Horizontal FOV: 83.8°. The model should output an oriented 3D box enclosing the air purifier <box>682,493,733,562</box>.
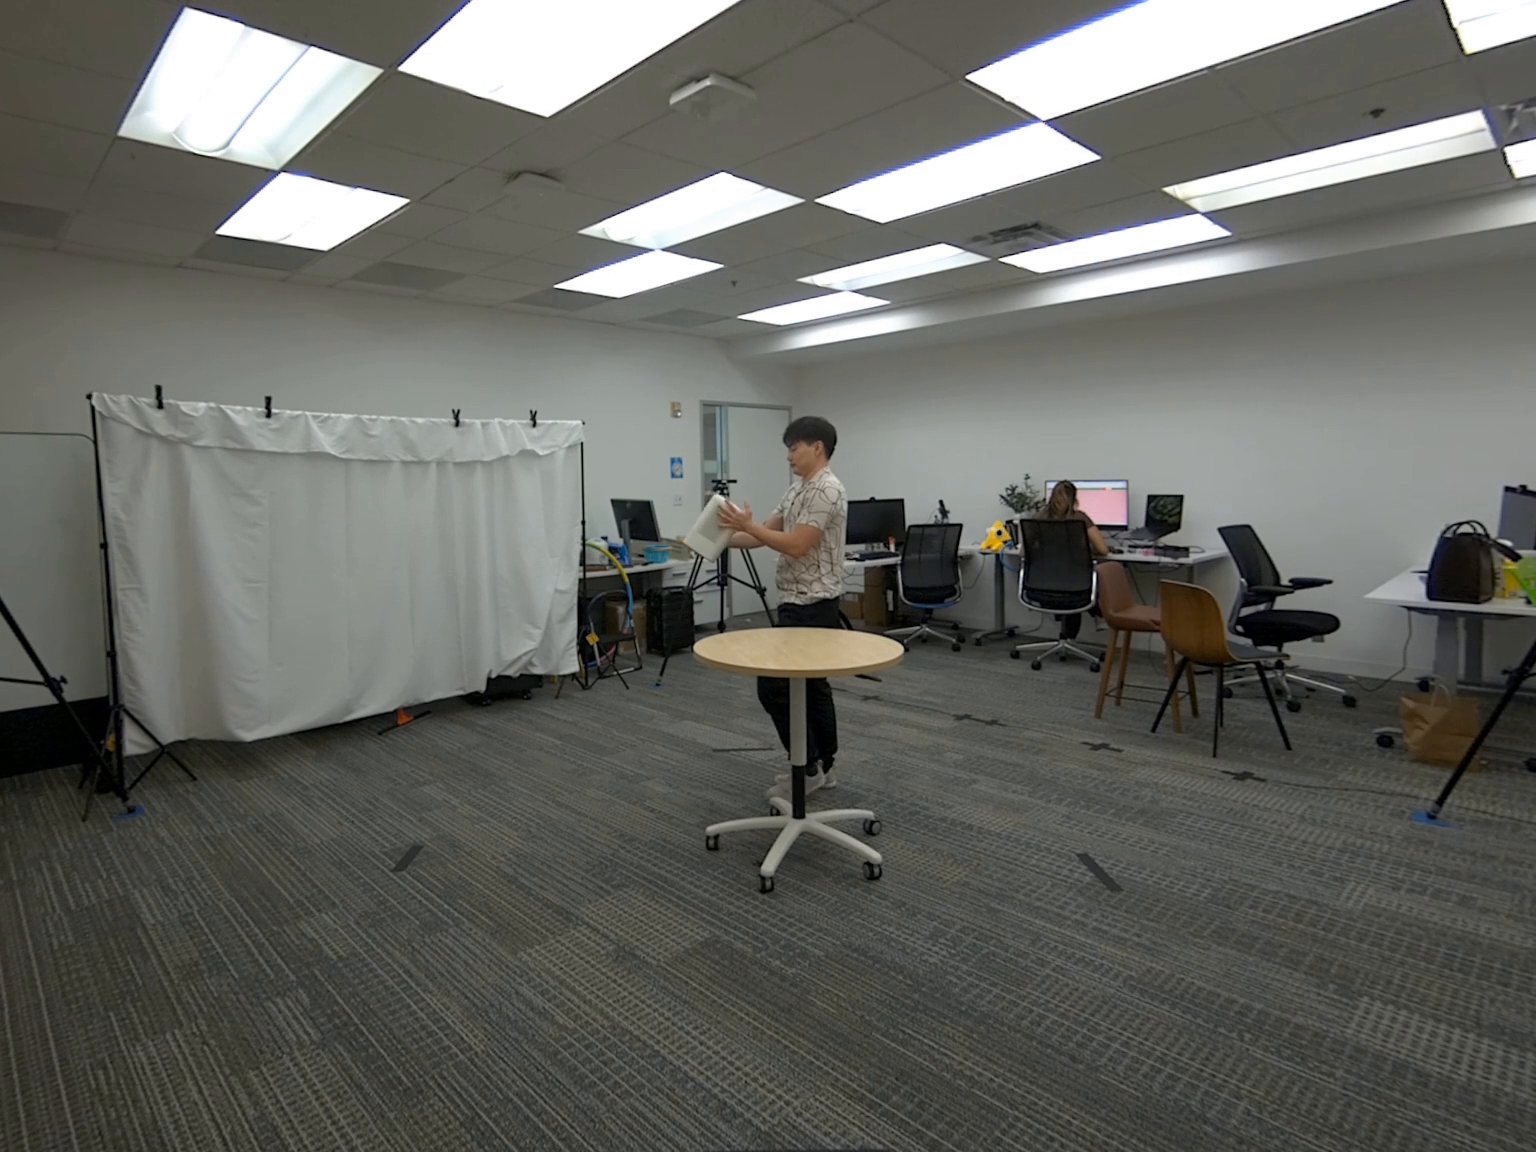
[{"bbox_3d":[-0.238,-0.220,3.803,0.171,0.265,0.172,33,2,-5],"label":"air purifier"}]
